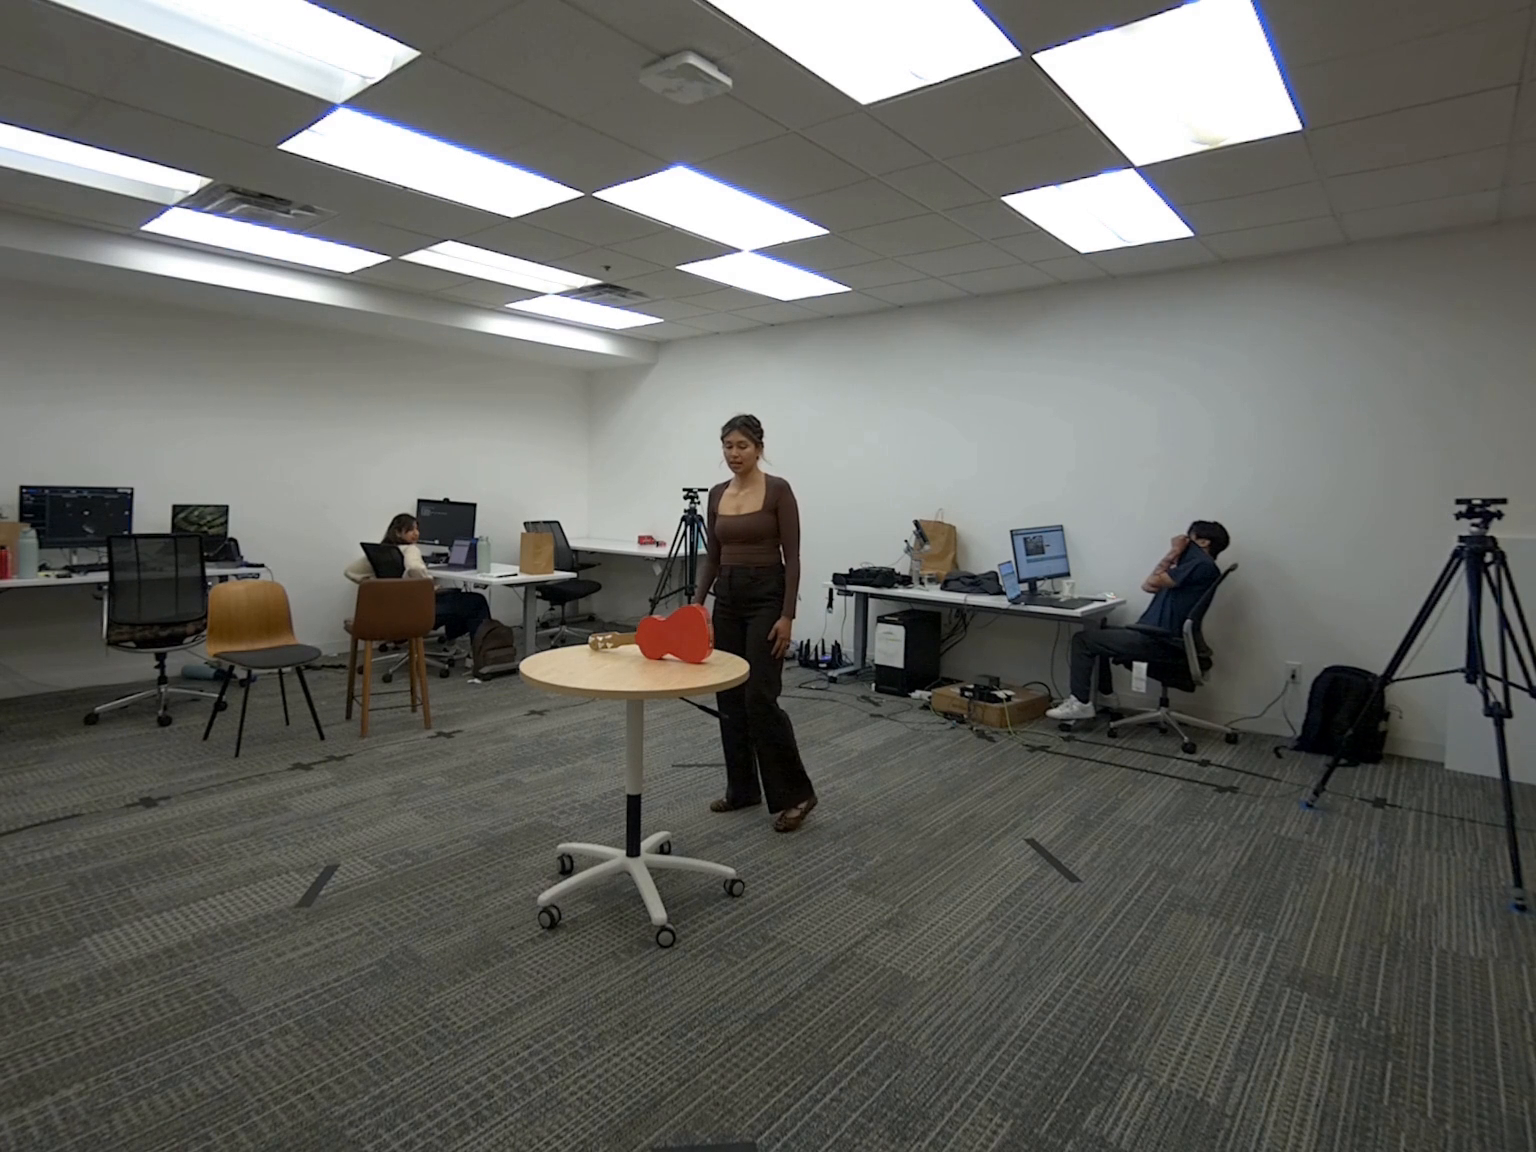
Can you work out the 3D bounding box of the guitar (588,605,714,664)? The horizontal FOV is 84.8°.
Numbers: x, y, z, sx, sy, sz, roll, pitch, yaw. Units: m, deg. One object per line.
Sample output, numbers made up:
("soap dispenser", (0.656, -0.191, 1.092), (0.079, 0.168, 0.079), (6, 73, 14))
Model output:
("guitar", (-0.429, 0.242, 2.967), (0.505, 0.194, 0.069), (-17, -3, 22))
